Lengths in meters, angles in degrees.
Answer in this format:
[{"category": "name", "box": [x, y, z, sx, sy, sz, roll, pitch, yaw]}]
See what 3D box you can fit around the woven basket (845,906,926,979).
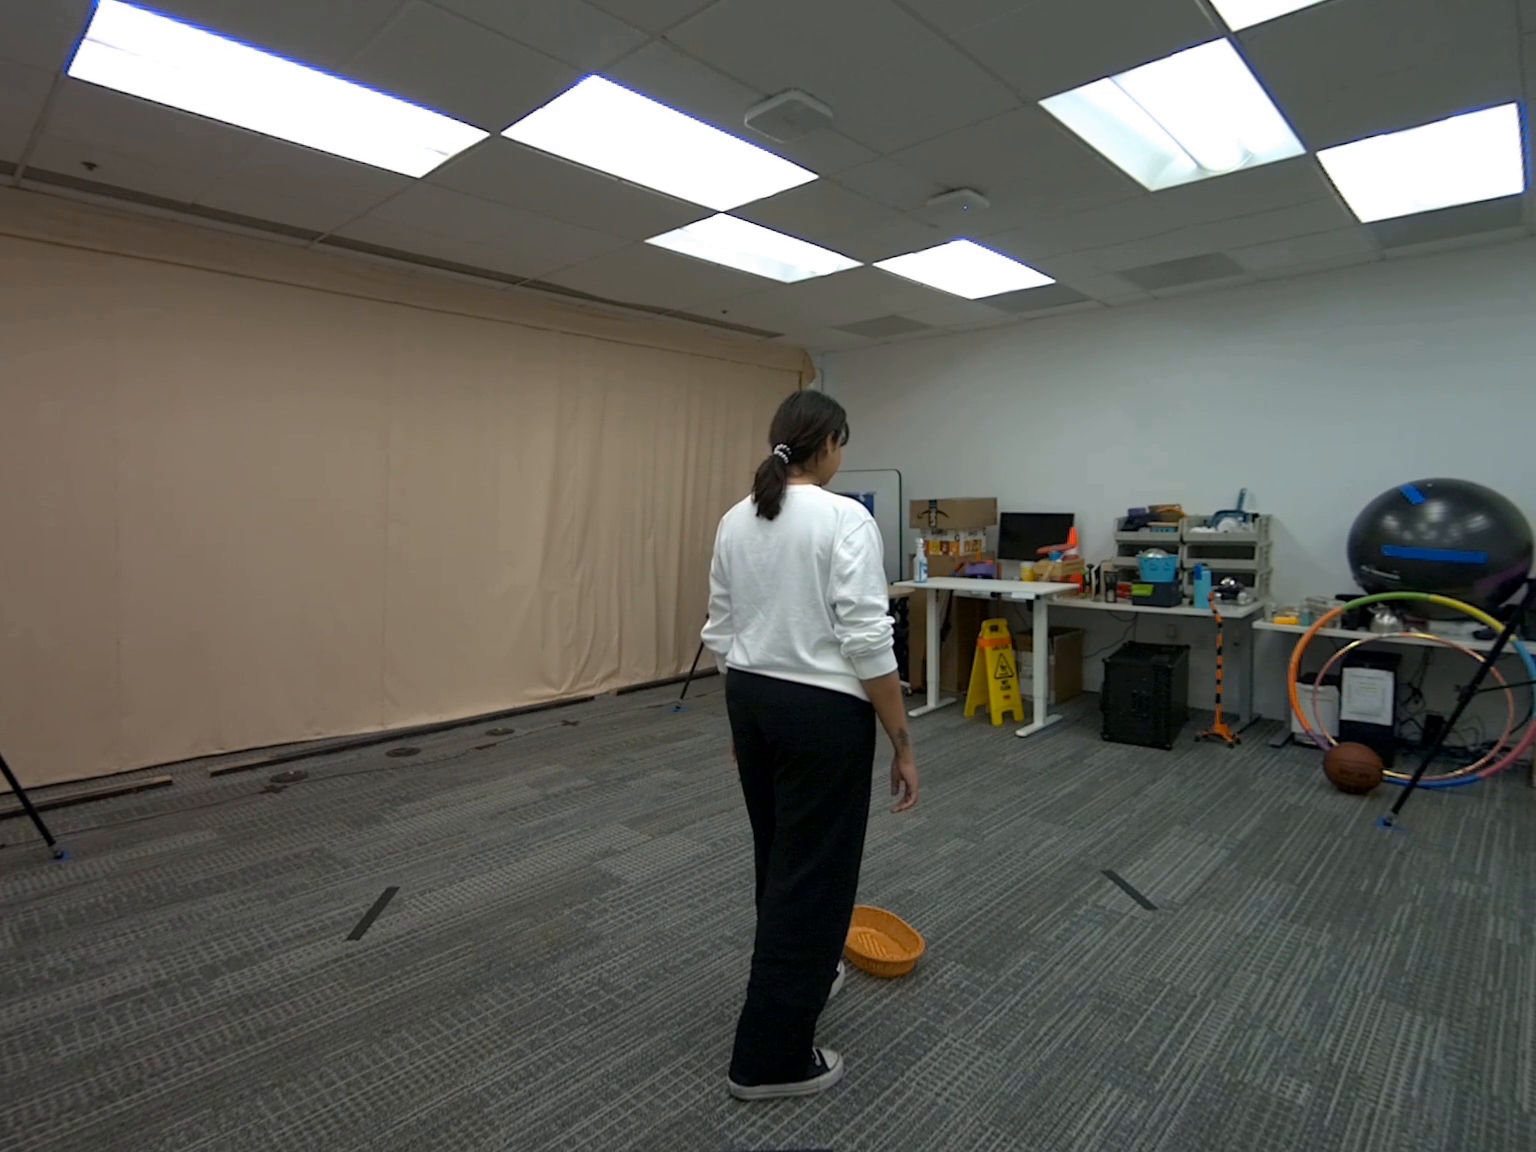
[{"category": "woven basket", "box": [0.336, 1.134, 2.616, 0.248, 0.073, 0.358, 0, 5, -19]}]
